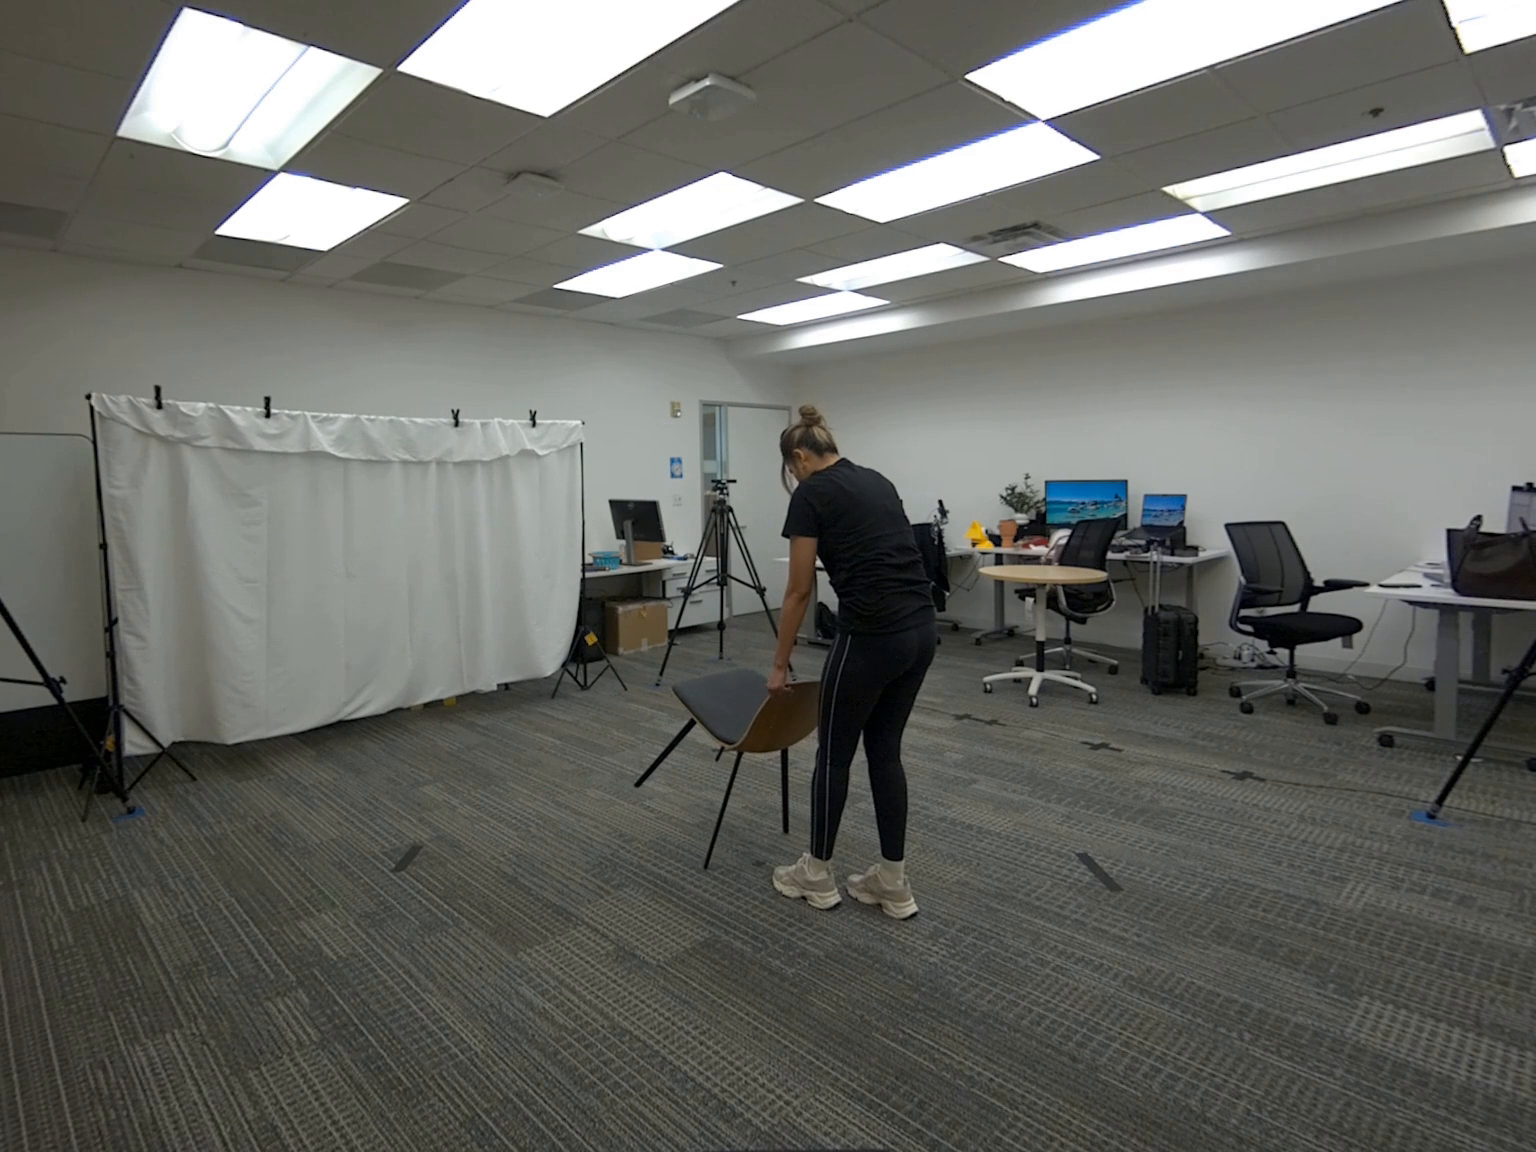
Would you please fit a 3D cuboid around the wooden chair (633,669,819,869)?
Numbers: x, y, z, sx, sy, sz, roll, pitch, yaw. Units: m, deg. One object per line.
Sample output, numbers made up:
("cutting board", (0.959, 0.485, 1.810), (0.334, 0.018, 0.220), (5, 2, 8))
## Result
("wooden chair", (-0.093, 0.546, 3.205), (0.465, 0.868, 0.543), (-5, 38, -45))
